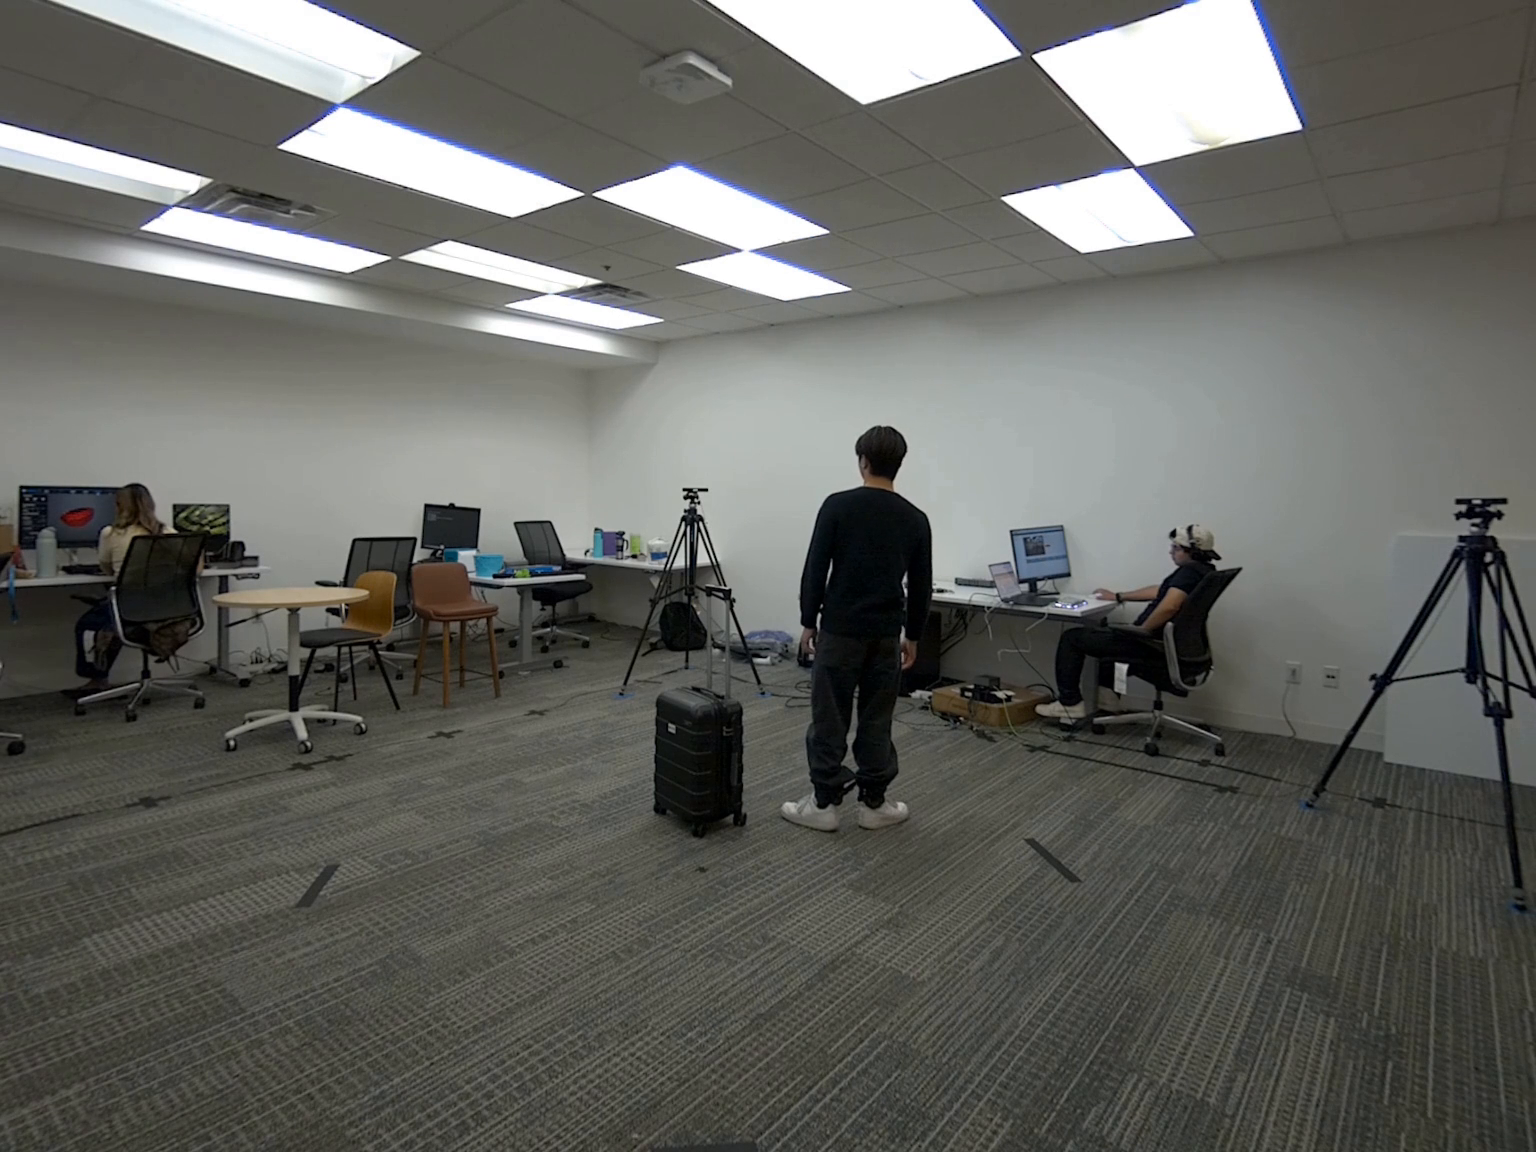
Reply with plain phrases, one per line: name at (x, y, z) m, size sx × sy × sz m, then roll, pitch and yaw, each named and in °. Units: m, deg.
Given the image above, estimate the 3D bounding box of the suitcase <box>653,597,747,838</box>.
suitcase at (-0.311, 0.553, 3.540) m, size 0.250 × 0.974 × 0.397 m, roll -5°, pitch 6°, yaw -37°
